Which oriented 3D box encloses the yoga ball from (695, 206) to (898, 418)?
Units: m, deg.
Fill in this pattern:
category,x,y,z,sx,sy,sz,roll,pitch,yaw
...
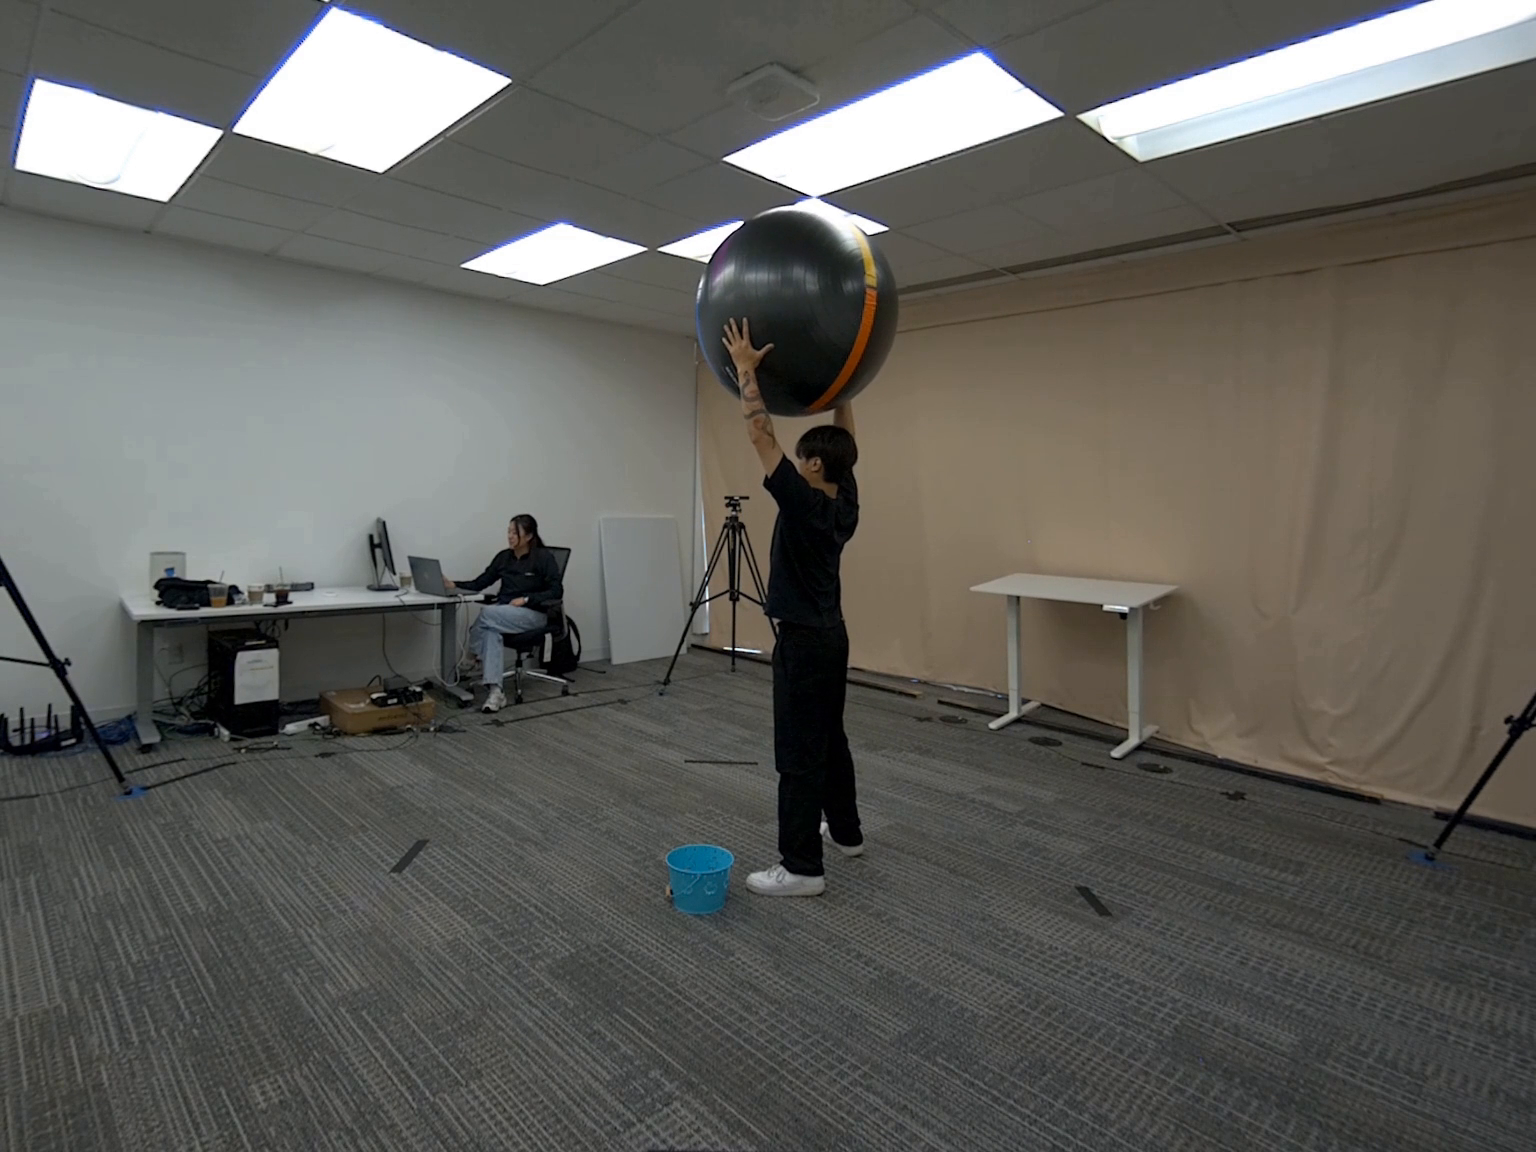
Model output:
category,x,y,z,sx,sy,sz,roll,pitch,yaw
yoga ball,0.100,-0.975,3.168,0.757,0.756,0.761,1,4,-1
